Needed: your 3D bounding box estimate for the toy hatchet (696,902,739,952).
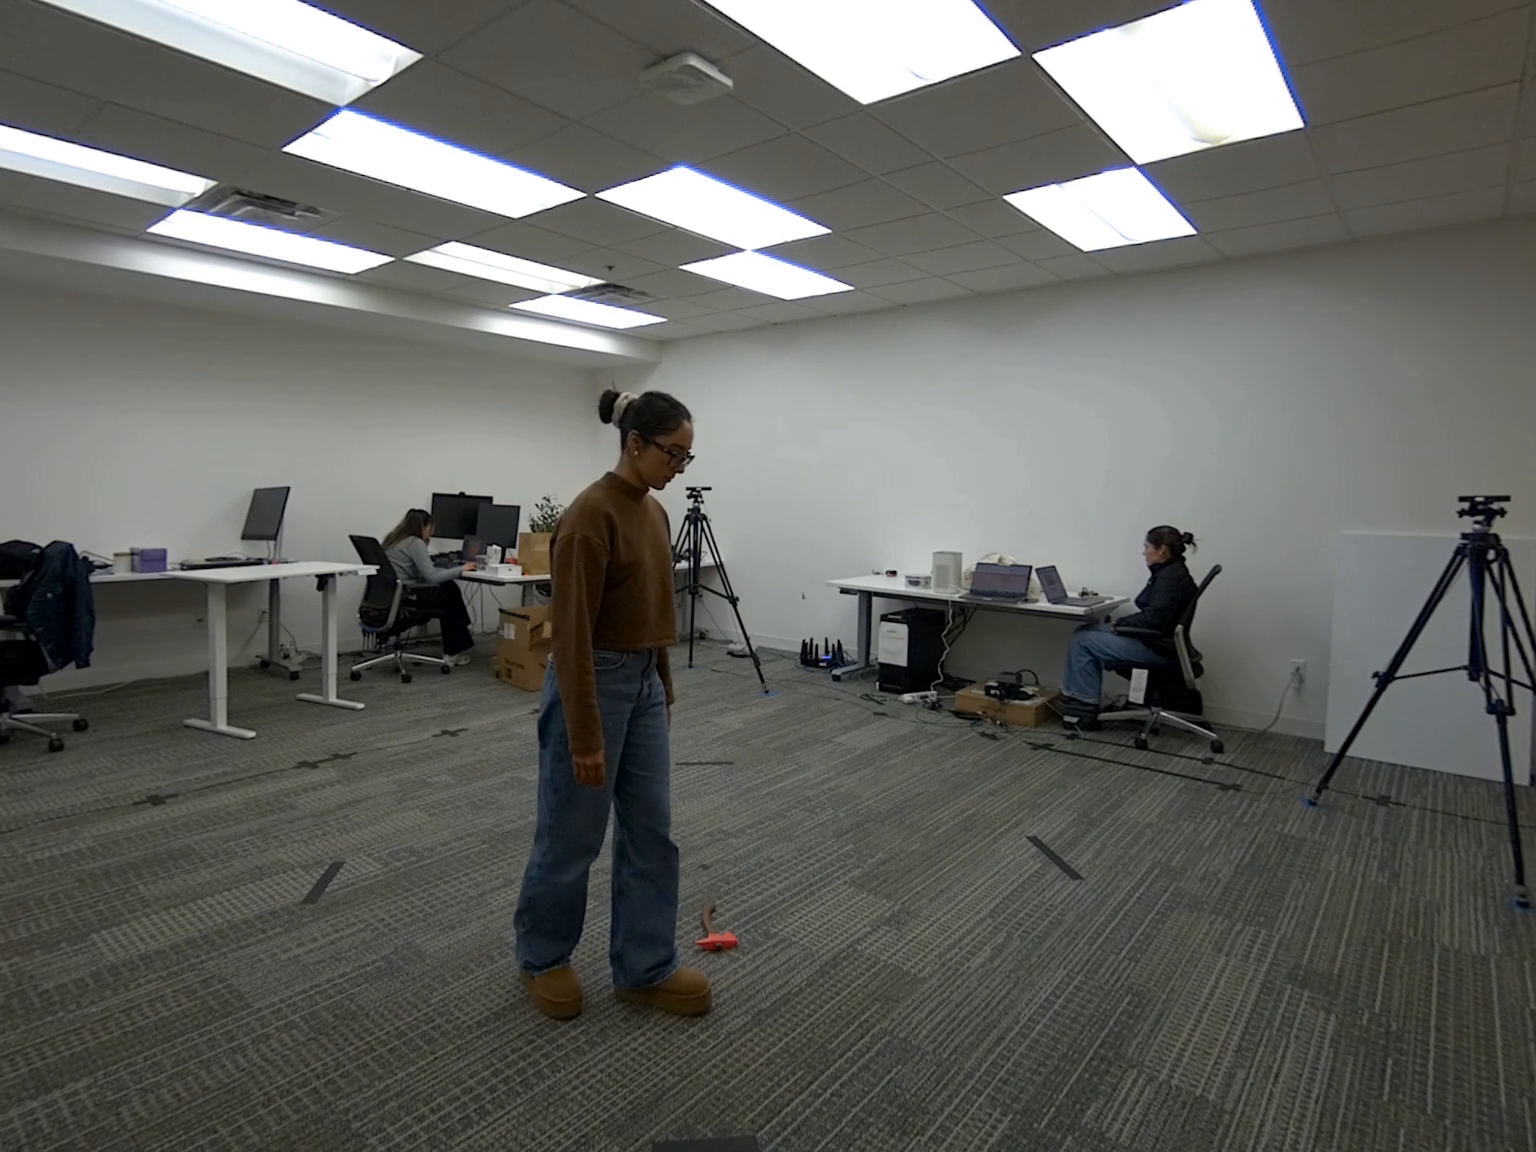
[{"bbox_3d":[-0.159,1.098,2.673,0.131,0.029,0.269,2,4,2],"label":"toy hatchet"}]
